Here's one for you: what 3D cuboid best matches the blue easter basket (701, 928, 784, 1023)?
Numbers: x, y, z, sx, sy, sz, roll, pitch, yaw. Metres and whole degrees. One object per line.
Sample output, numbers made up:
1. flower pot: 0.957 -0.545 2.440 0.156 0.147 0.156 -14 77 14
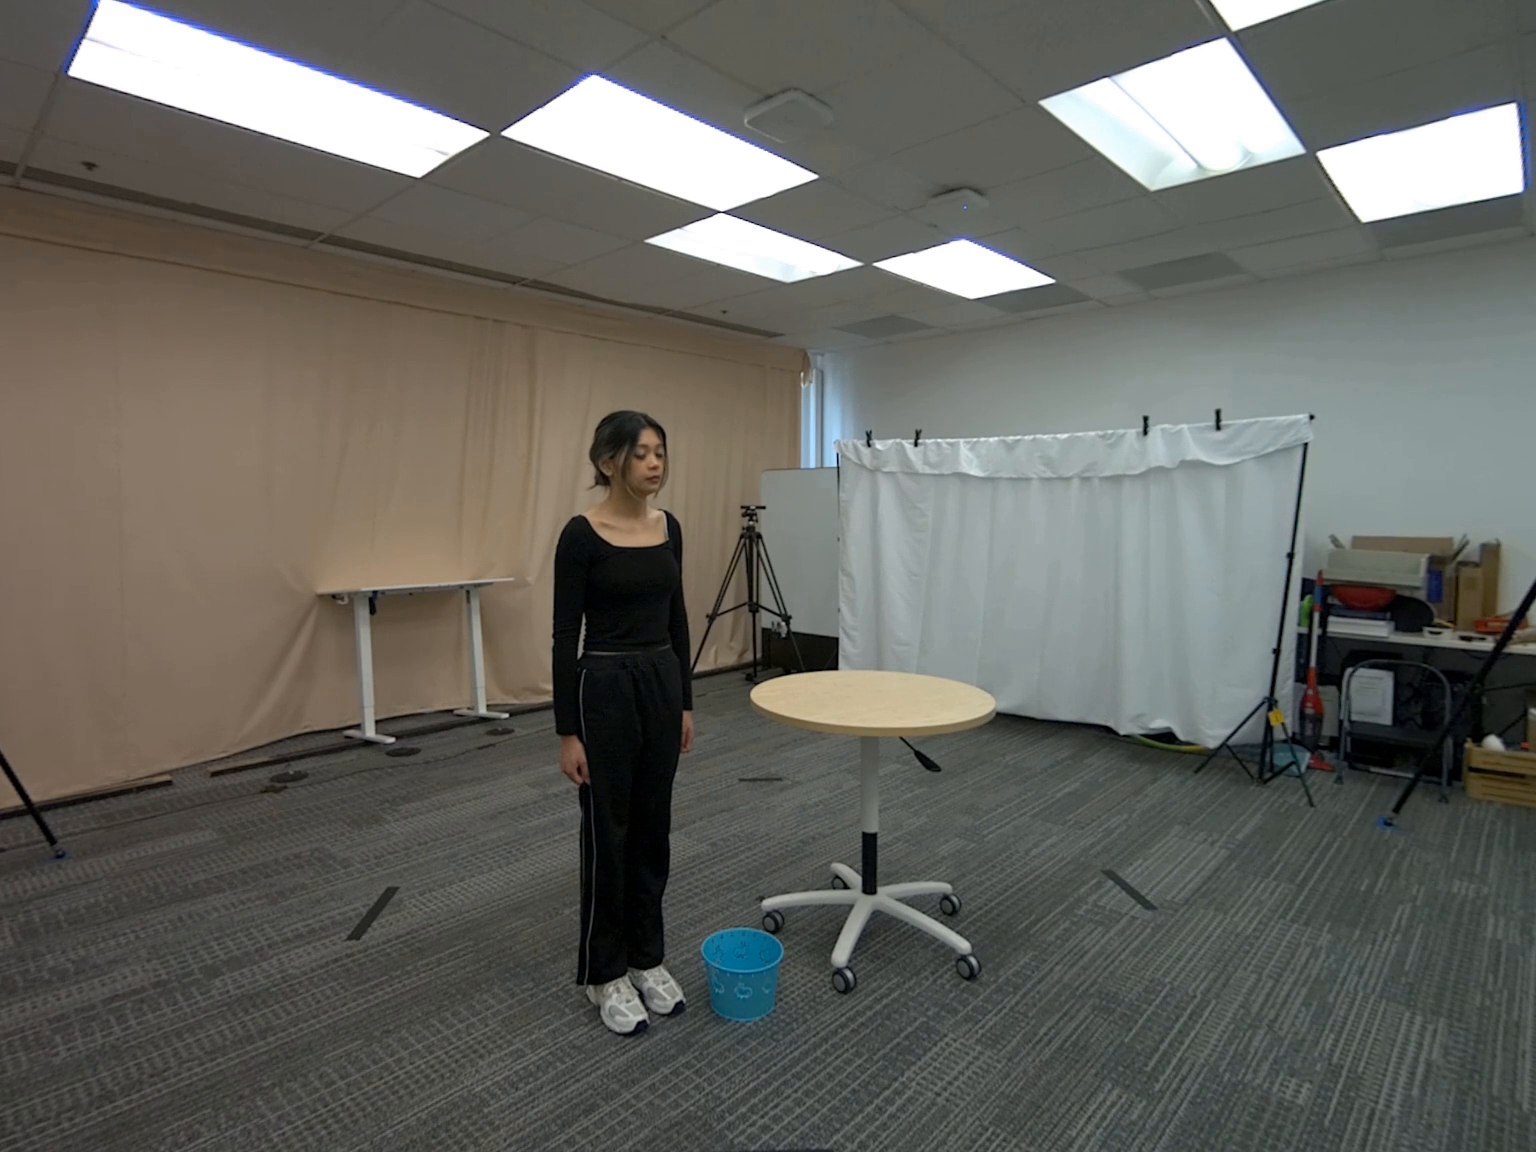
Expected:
1. blue easter basket: -0.069 1.124 2.353 0.243 0.155 0.244 0 4 -2
